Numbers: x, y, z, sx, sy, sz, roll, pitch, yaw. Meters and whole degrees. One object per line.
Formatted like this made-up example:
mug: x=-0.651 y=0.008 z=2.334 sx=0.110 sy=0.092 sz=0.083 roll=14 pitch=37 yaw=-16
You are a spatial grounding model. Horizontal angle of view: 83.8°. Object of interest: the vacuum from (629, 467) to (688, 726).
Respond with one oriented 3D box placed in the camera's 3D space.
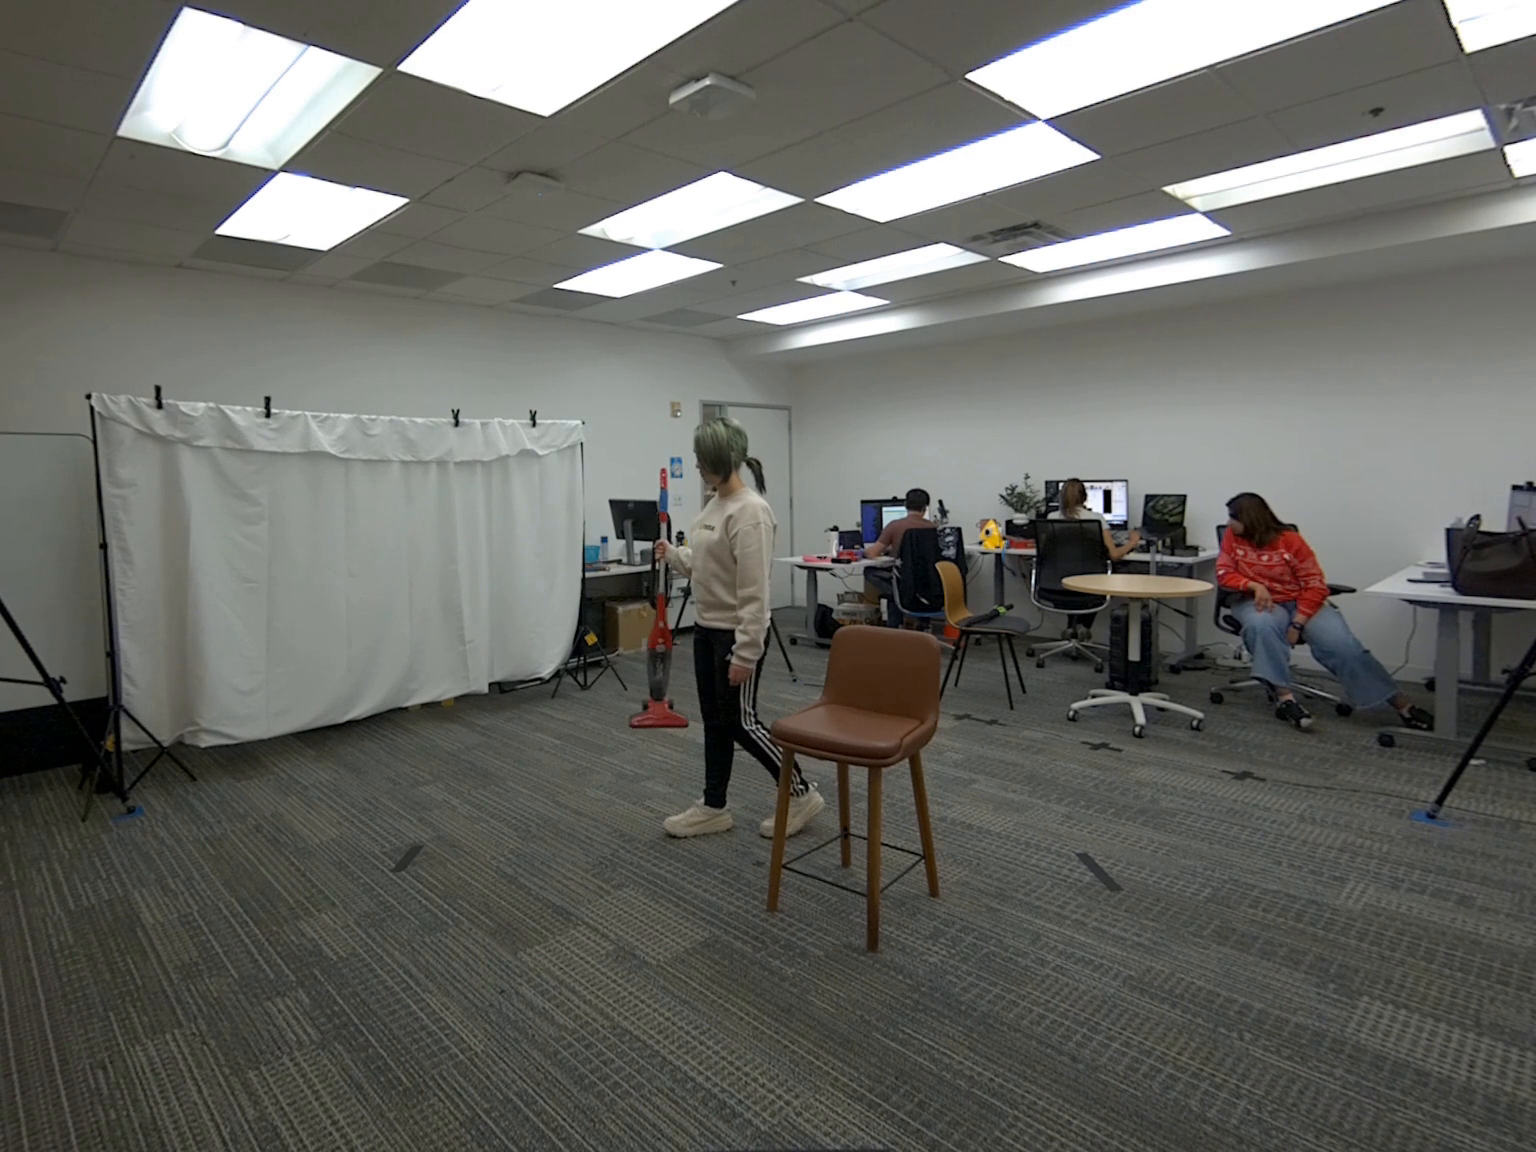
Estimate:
vacuum: x=-0.459 y=0.066 z=3.679 sx=0.250 sy=1.054 sz=0.145 roll=1 pitch=-4 yaw=-9
